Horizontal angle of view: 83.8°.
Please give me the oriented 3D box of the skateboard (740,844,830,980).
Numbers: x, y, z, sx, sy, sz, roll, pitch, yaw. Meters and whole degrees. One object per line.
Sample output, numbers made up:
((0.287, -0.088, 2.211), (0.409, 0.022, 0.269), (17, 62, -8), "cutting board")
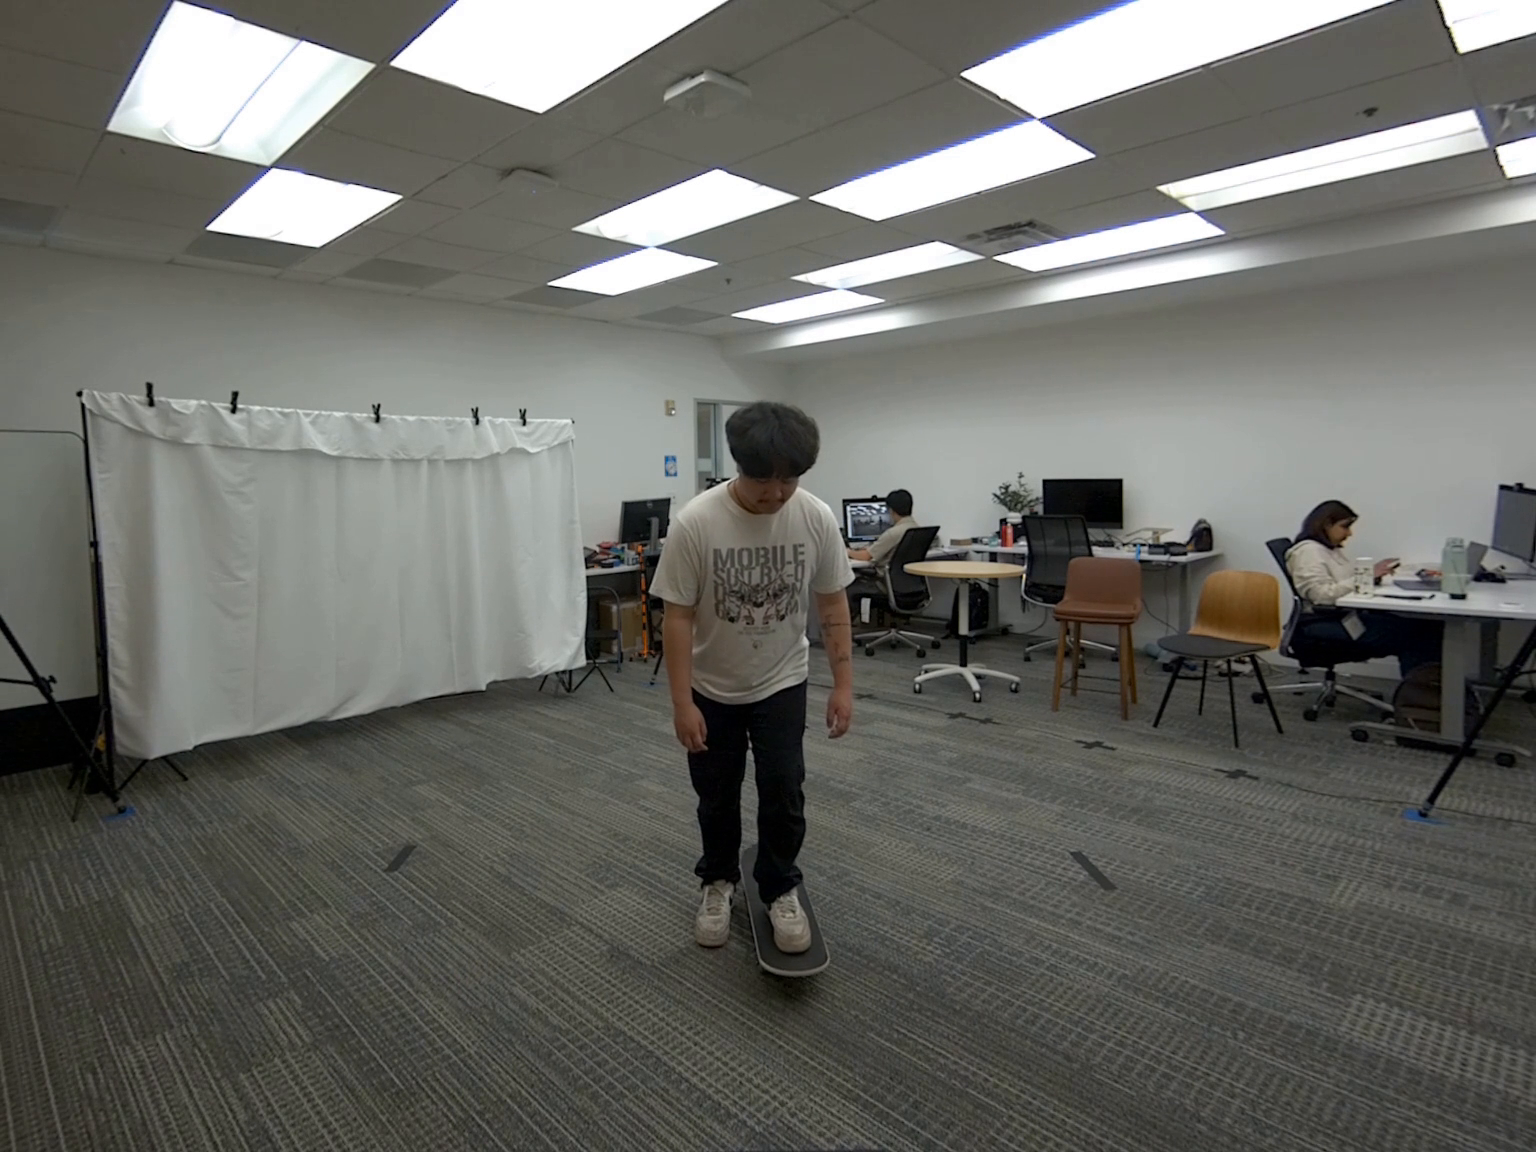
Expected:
((0.044, 1.039, 2.632), (0.192, 0.110, 0.793), (-2, 6, -6), "skateboard")
